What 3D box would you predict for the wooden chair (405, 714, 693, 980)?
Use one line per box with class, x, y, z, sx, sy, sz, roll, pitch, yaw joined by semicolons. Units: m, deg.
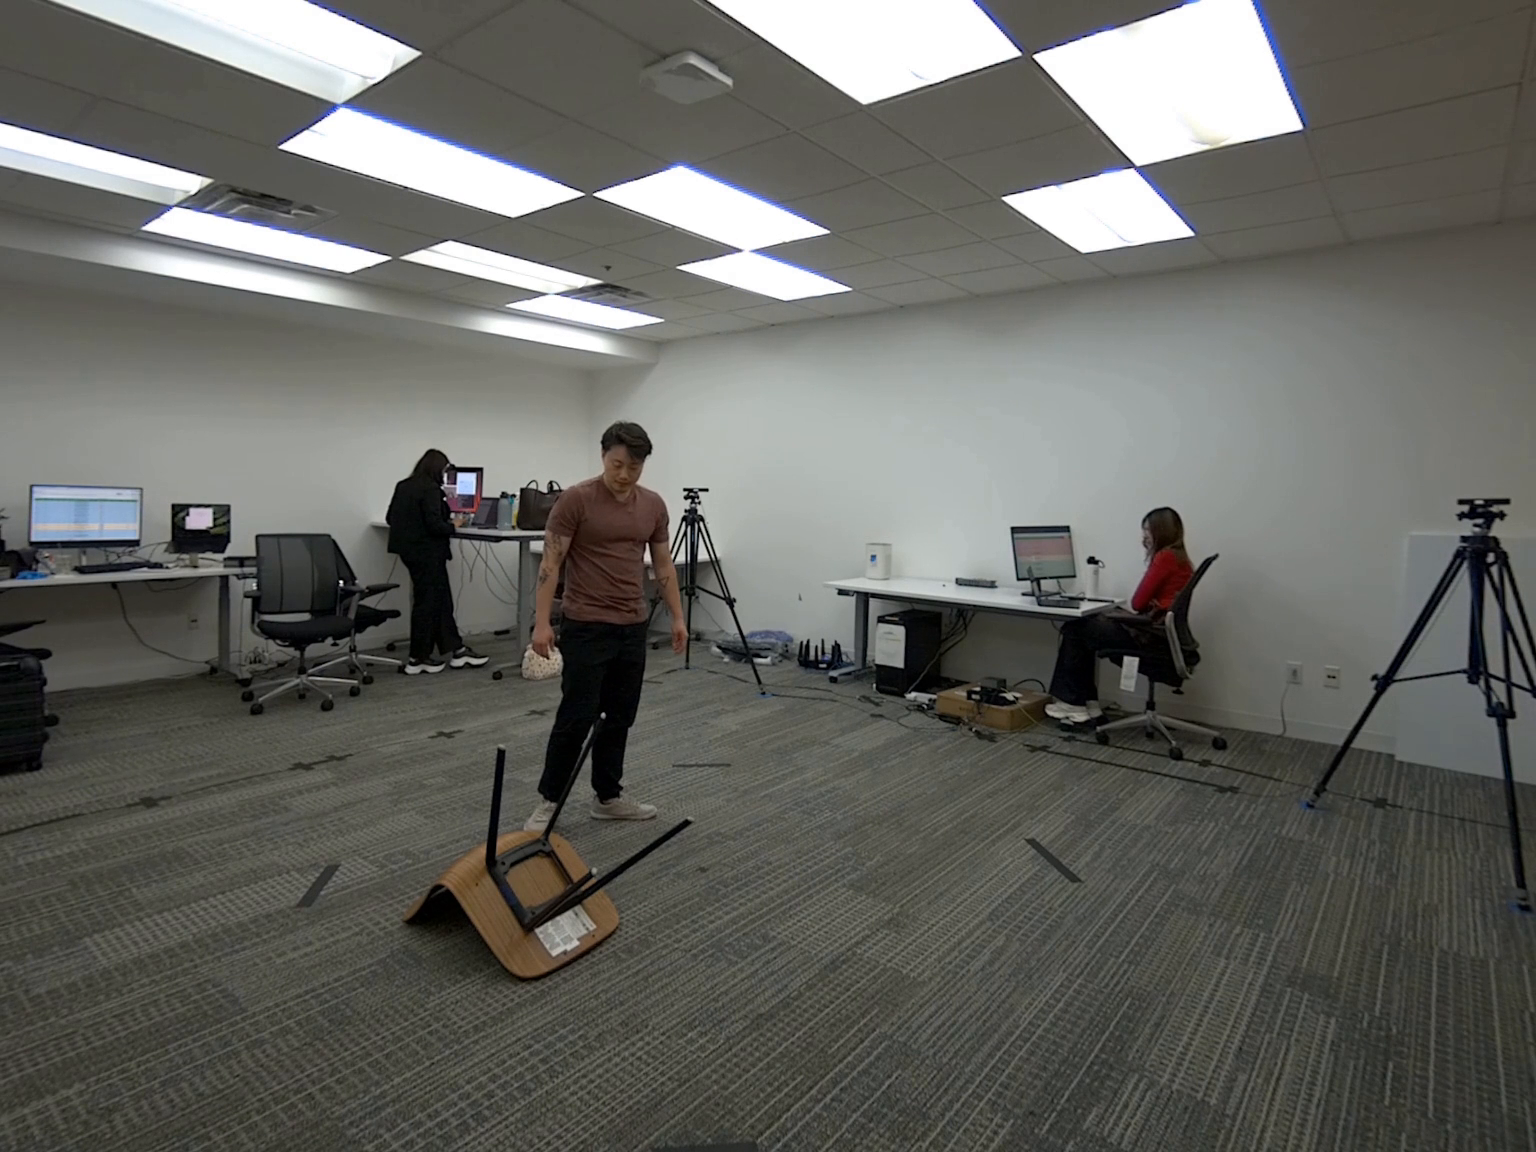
wooden chair;-0.720;0.936;2.622;0.539;0.875;0.466;47;24;20
